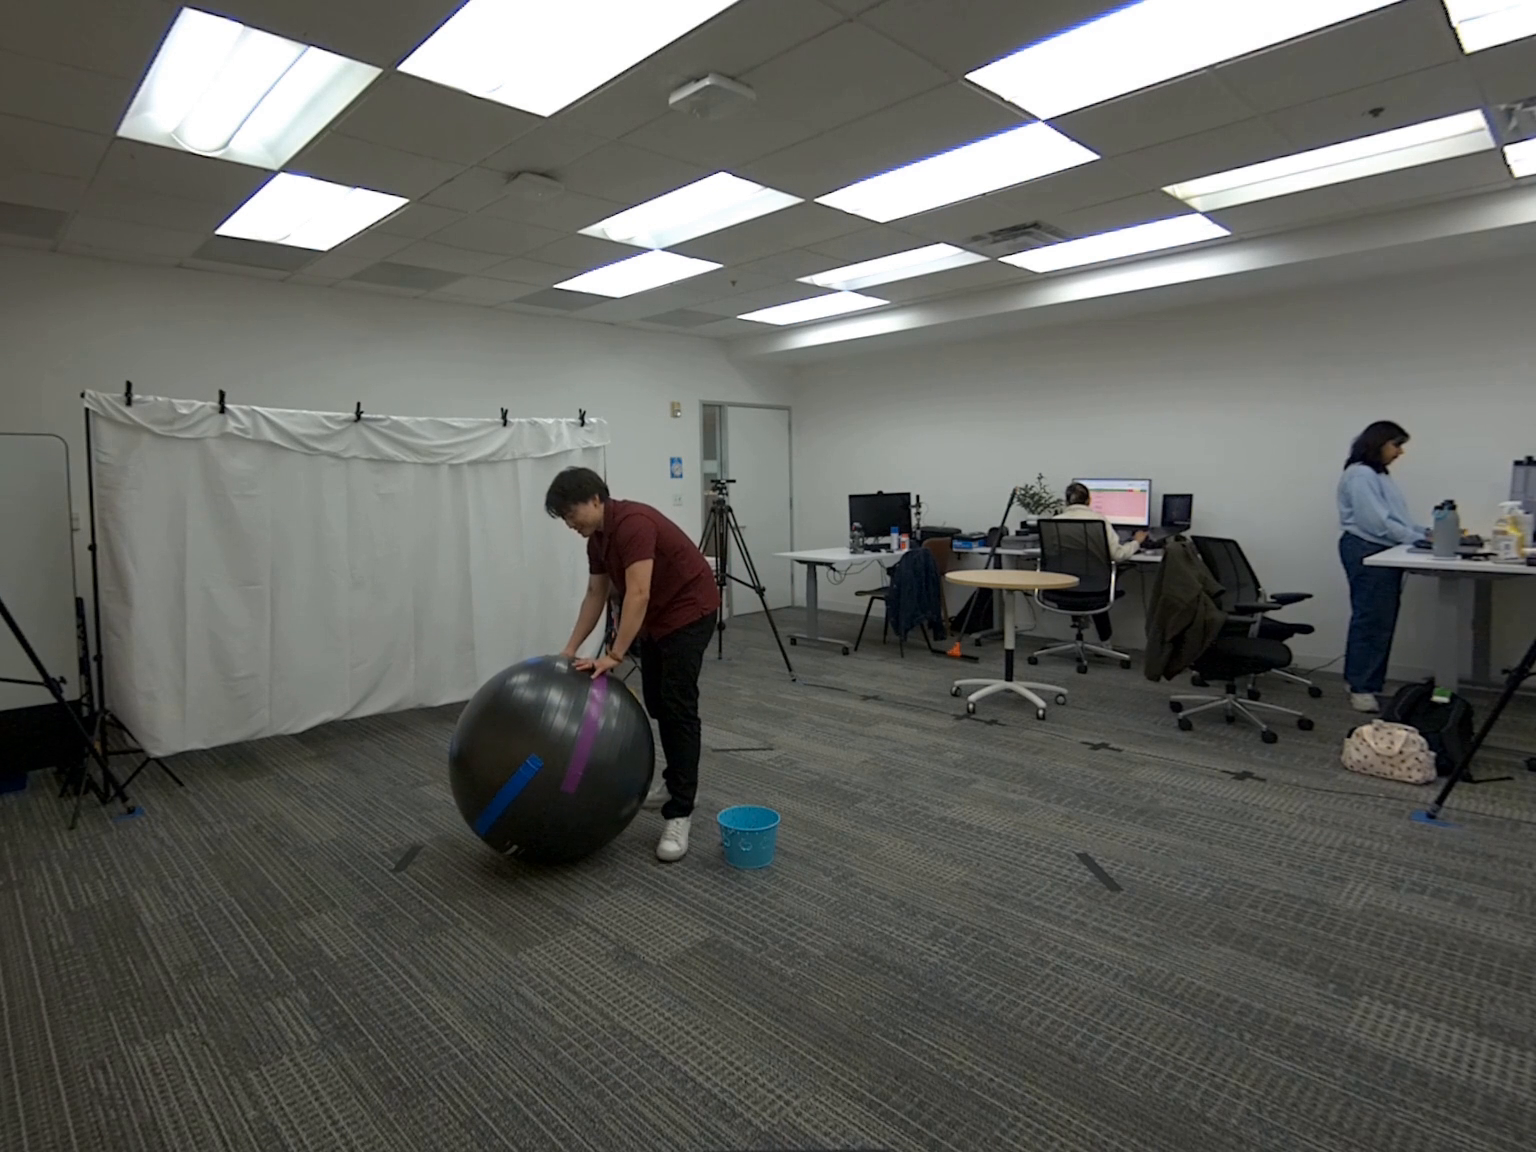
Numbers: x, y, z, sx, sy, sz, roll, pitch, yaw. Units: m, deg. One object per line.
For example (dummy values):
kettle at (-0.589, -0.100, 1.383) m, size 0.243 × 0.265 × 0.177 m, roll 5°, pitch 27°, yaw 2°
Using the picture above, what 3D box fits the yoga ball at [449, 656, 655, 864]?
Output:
yoga ball at (-0.814, 0.688, 3.221) m, size 0.757 × 0.755 × 0.762 m, roll -1°, pitch 5°, yaw -2°
